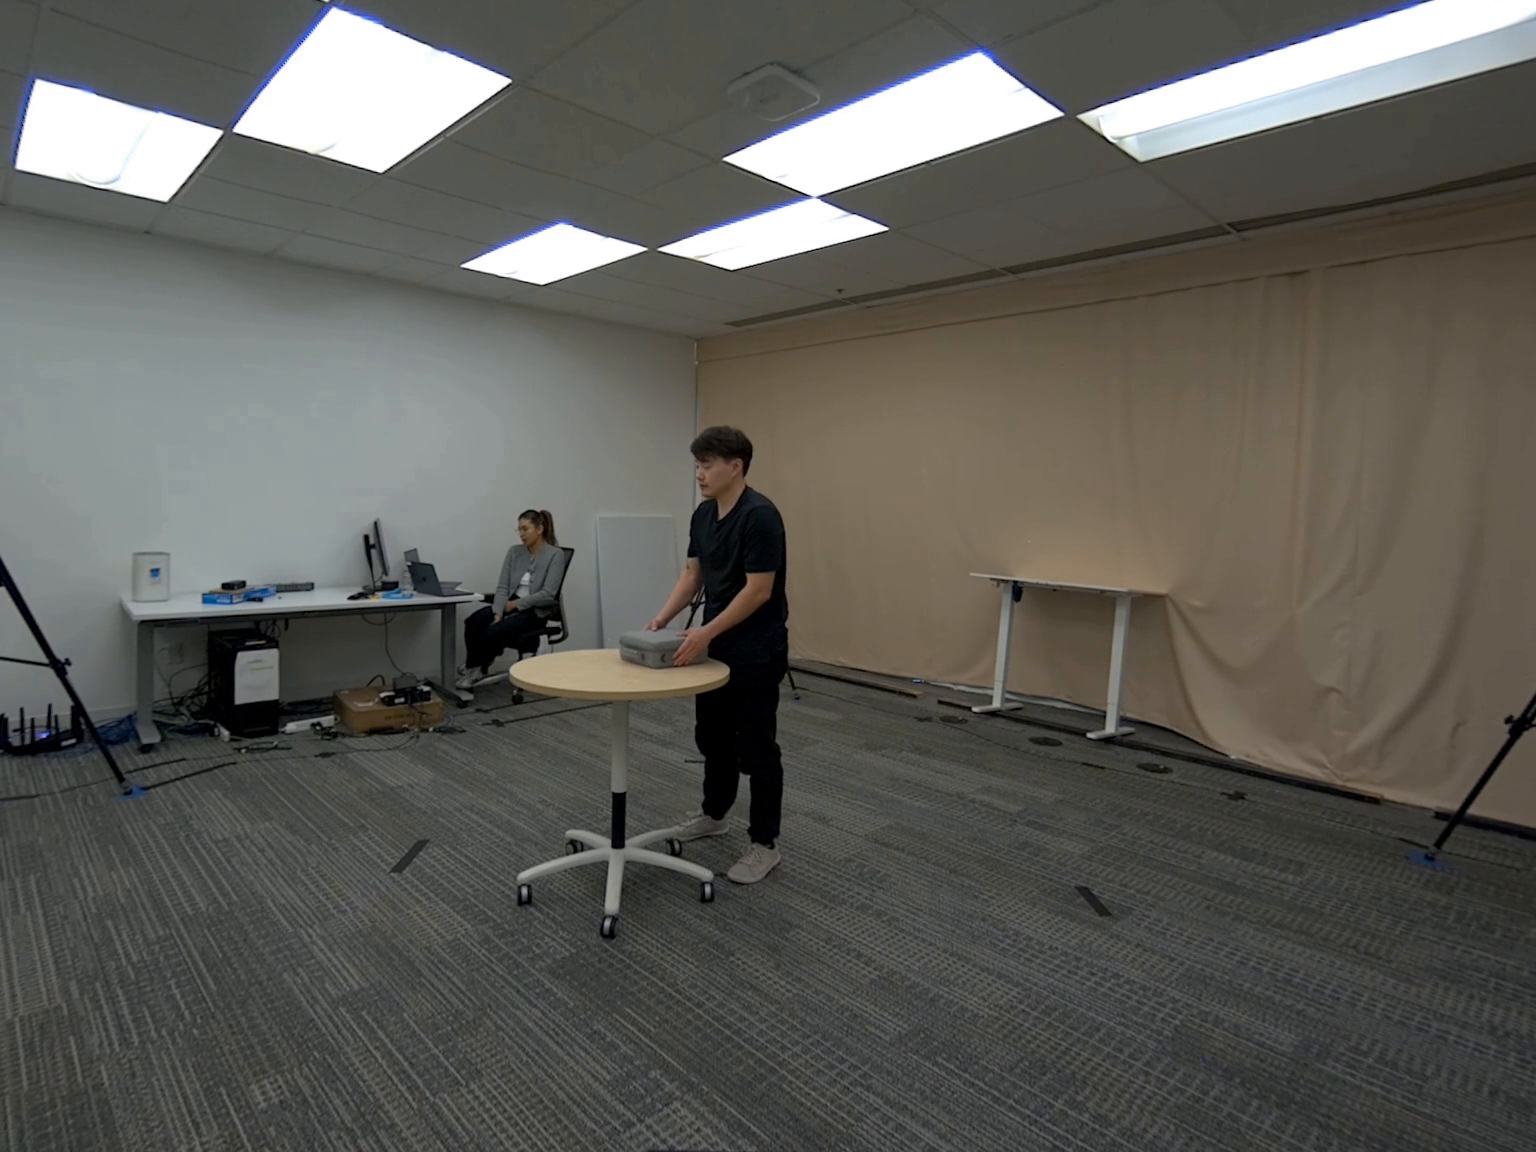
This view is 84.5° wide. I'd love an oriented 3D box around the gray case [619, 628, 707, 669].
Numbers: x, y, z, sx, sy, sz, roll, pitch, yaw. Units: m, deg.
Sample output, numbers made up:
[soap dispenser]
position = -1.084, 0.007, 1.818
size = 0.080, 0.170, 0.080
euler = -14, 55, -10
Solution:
[gray case]
position = -0.391, 0.264, 3.105
size = 0.255, 0.104, 0.263
euler = -4, 8, -40
